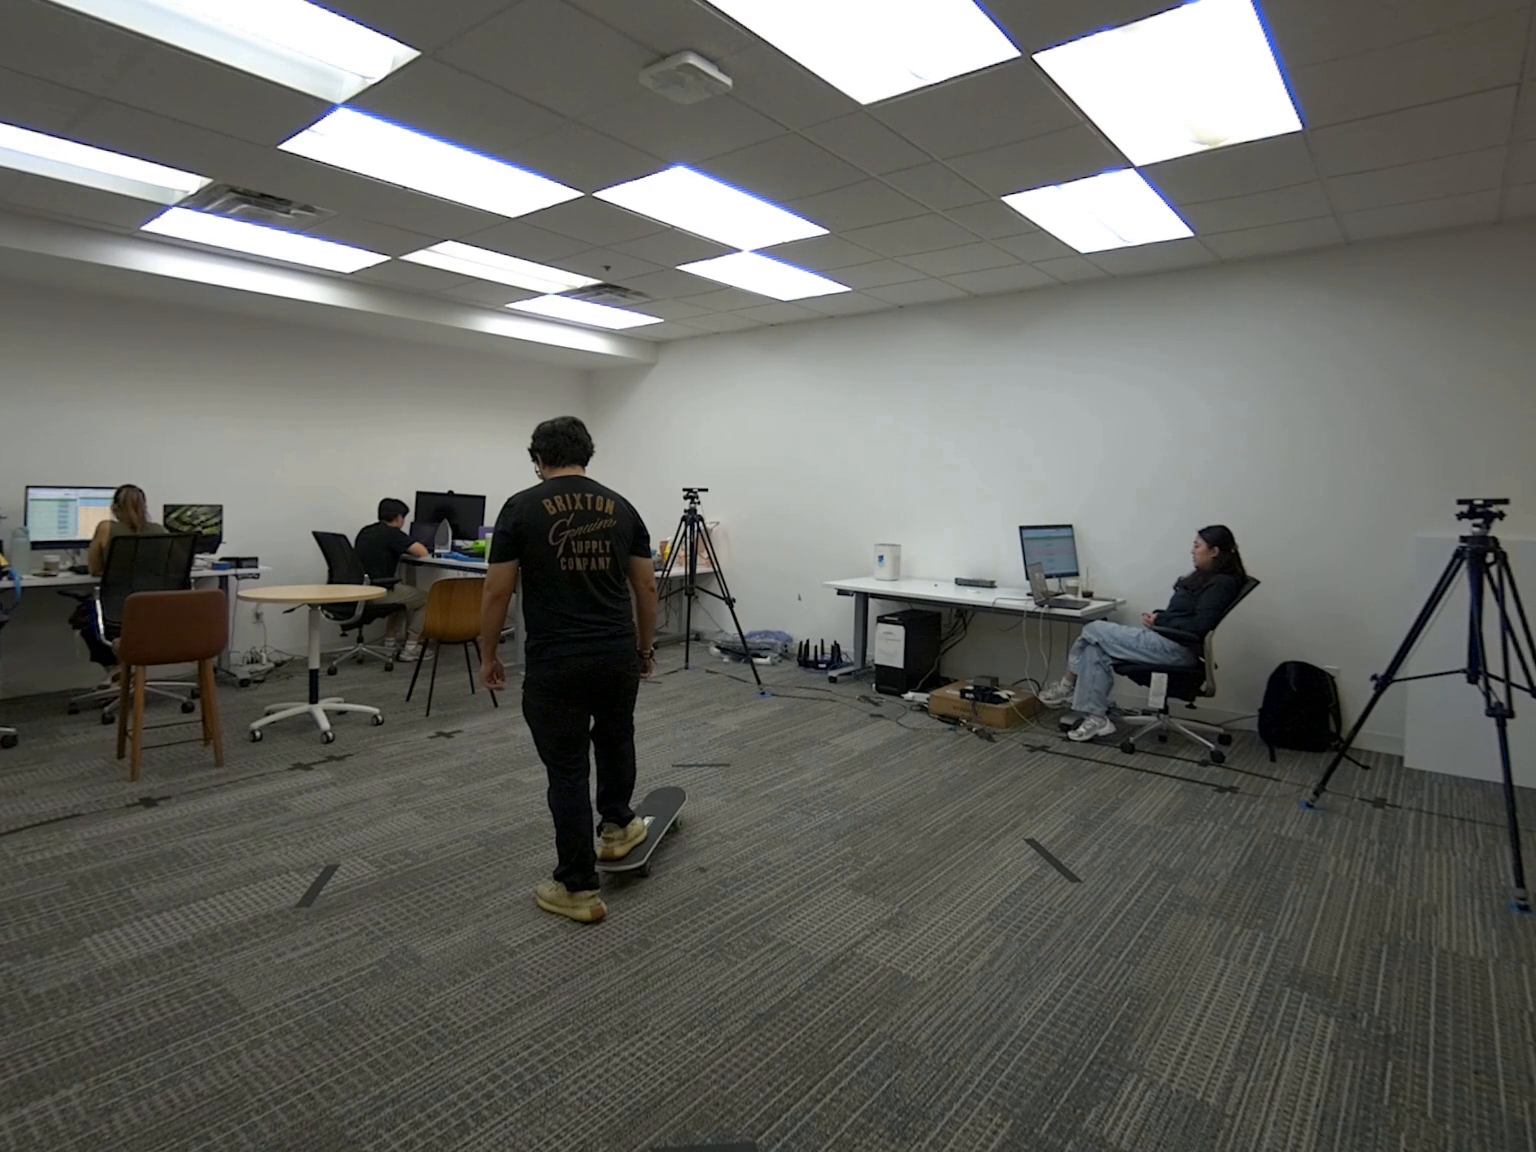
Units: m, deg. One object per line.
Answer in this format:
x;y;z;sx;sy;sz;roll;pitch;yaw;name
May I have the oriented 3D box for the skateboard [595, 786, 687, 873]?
-0.491;0.997;3.270;0.196;0.110;0.780;-1;6;9;skateboard
